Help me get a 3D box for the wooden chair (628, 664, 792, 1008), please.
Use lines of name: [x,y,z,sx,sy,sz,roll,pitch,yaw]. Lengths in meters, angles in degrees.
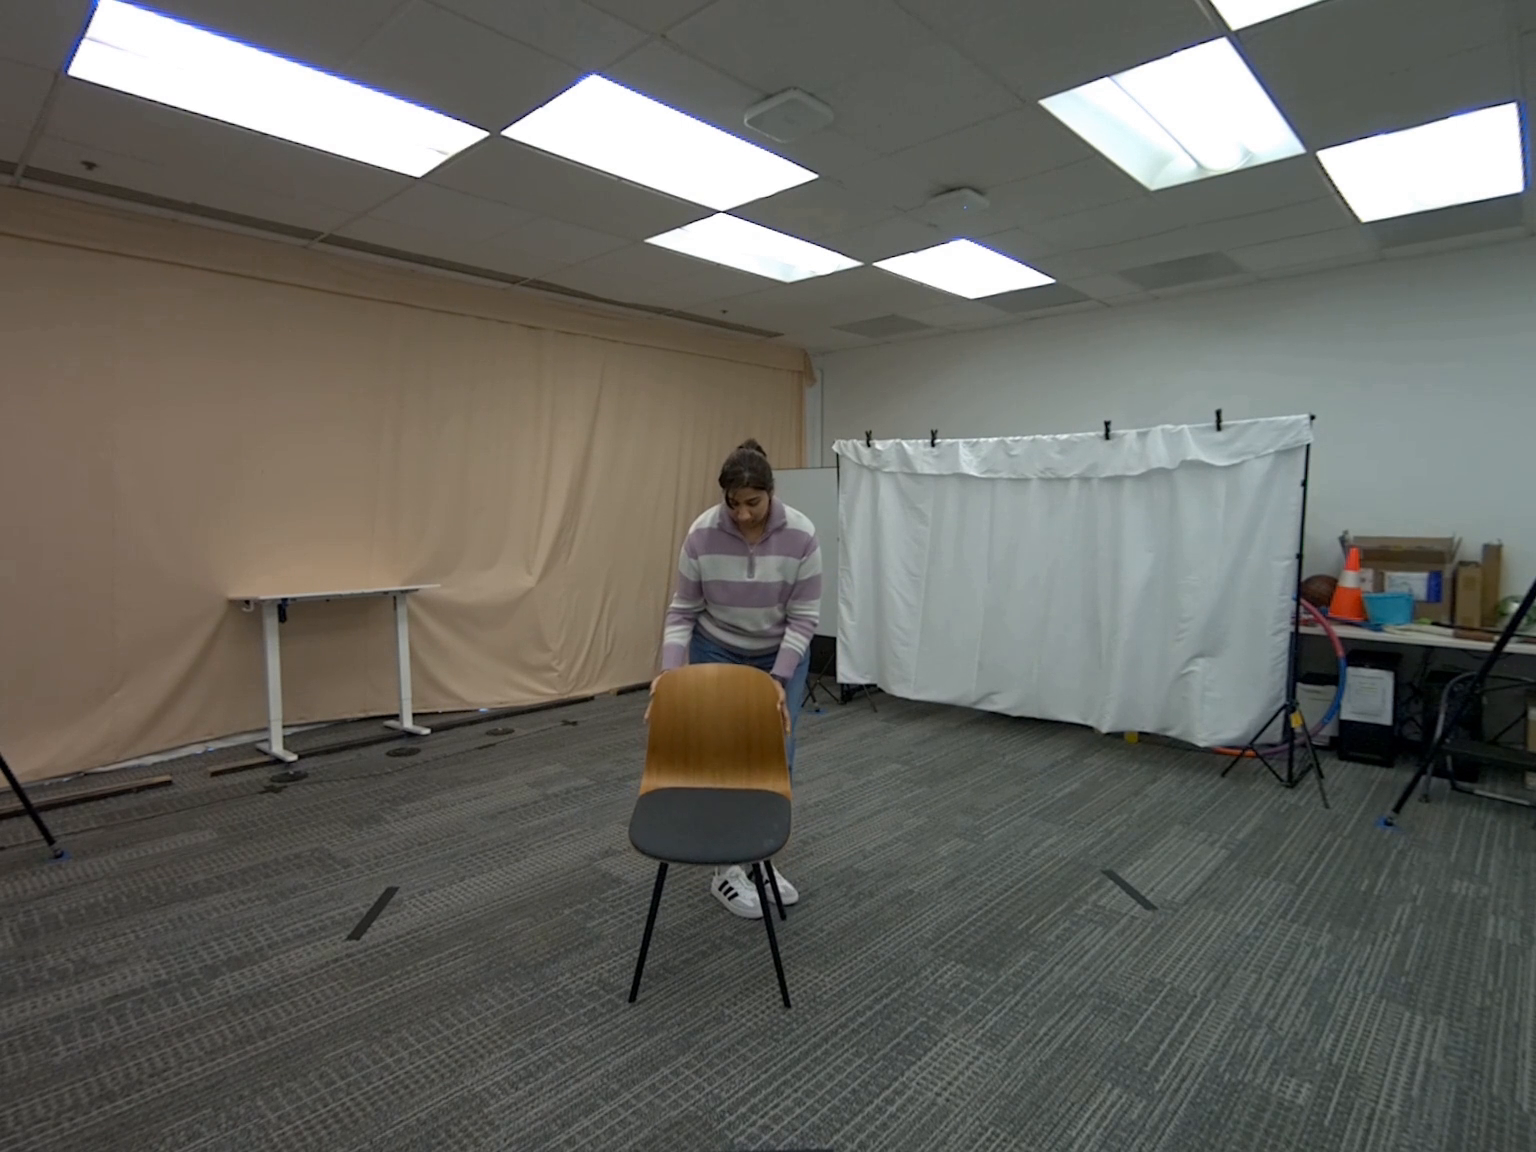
wooden chair: [-0.153,0.737,2.500,0.480,0.876,0.522,1,3,2]
